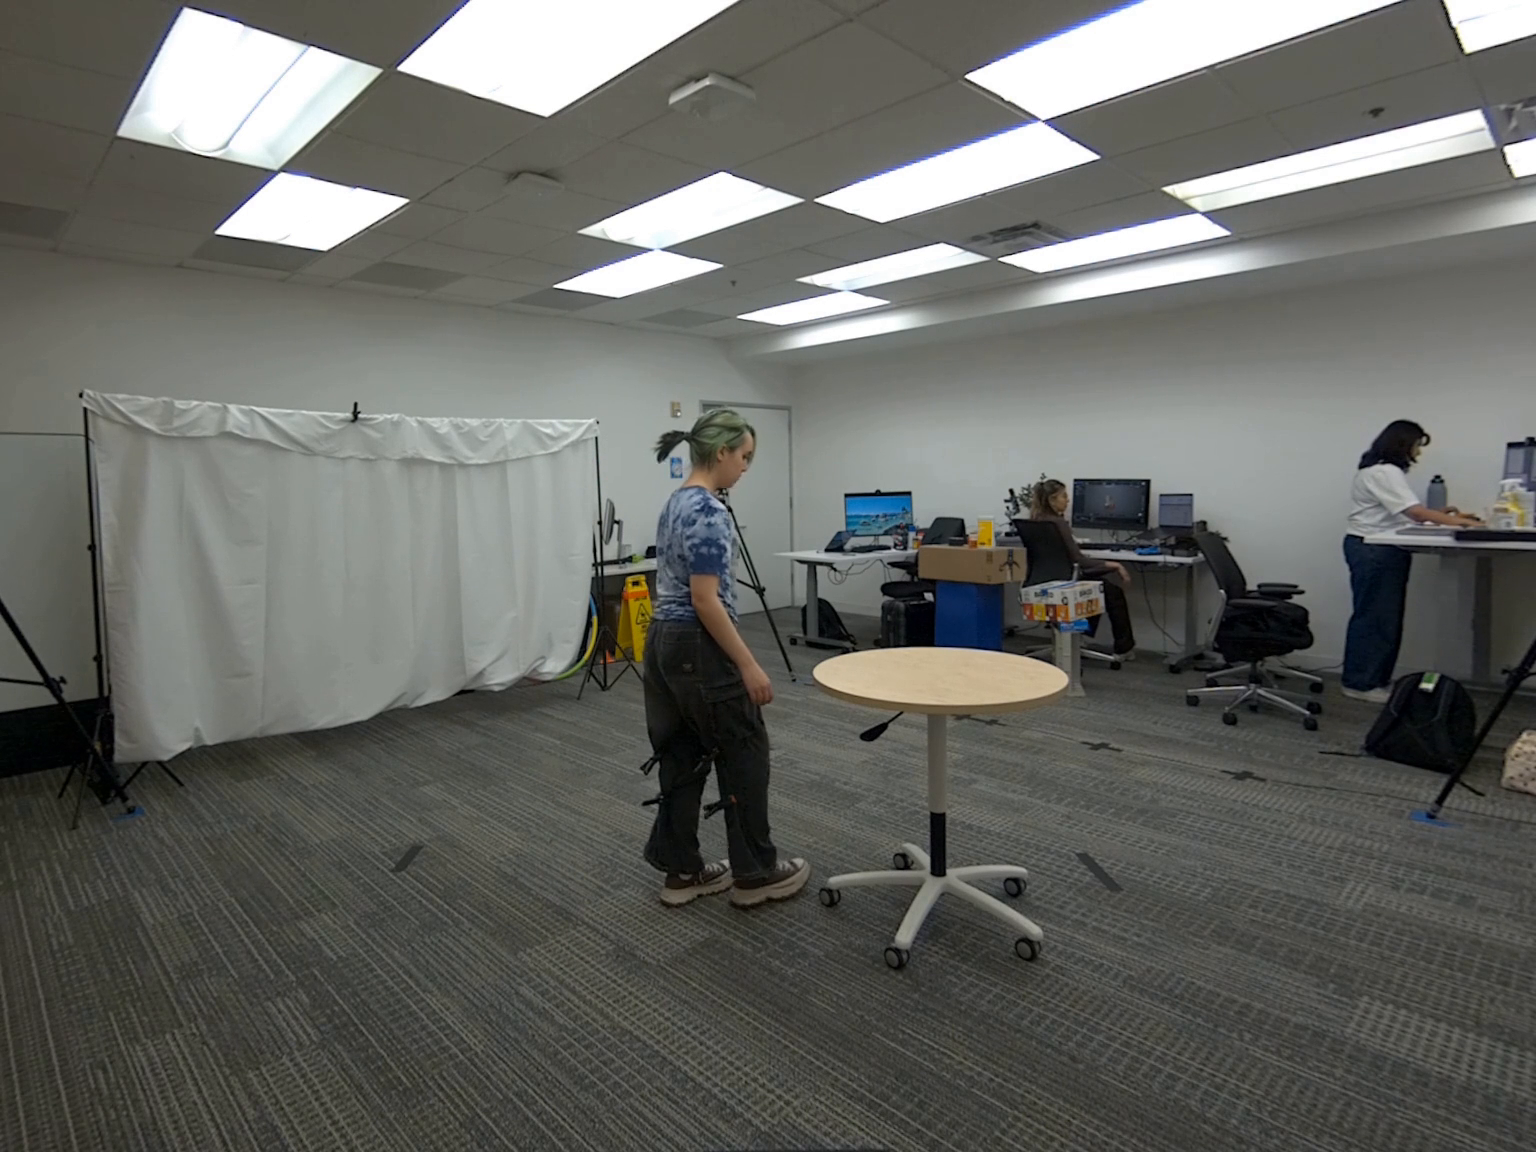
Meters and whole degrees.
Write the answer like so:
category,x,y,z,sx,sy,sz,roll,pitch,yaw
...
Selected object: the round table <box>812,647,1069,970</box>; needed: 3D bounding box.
category,x,y,z,sx,sy,sz,roll,pitch,yaw
round table,0.536,0.694,2.682,0.763,0.791,0.768,-1,5,-2
